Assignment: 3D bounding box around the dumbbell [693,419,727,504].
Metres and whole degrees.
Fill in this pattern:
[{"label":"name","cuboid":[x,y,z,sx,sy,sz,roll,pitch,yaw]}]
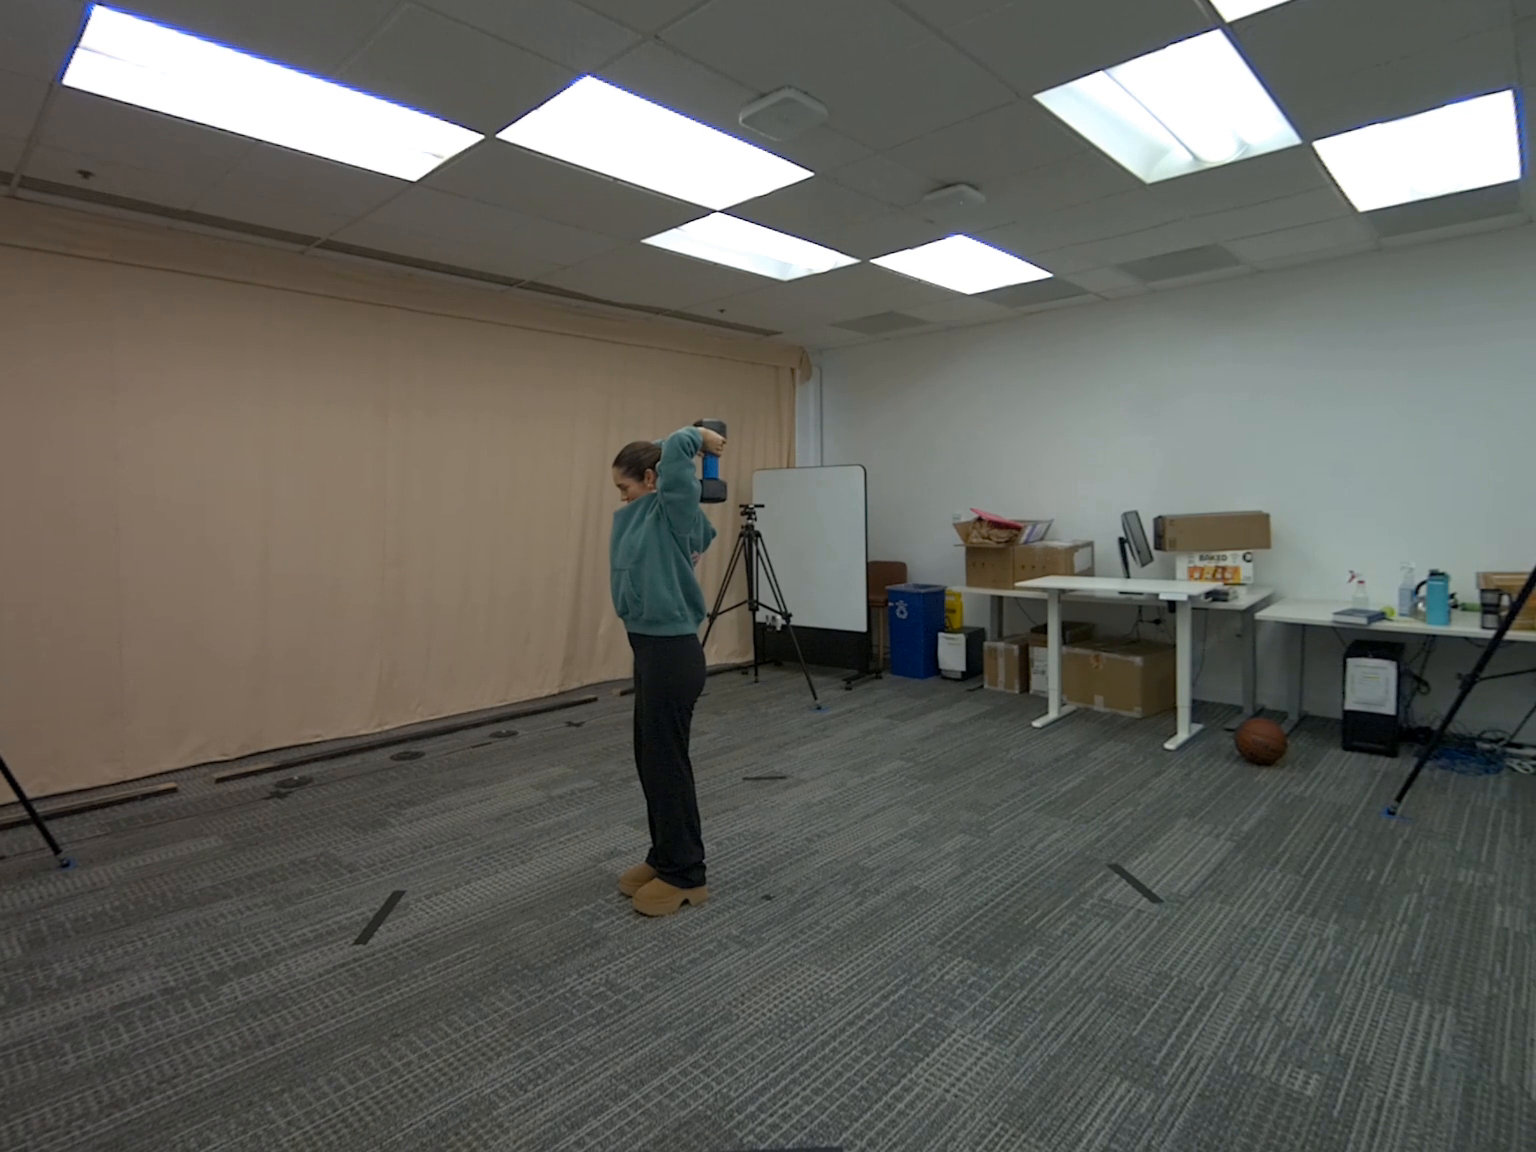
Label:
[{"label":"dumbbell","cuboid":[-0.211,-0.414,3.015,0.121,0.294,0.110,1,-2,-12]}]
